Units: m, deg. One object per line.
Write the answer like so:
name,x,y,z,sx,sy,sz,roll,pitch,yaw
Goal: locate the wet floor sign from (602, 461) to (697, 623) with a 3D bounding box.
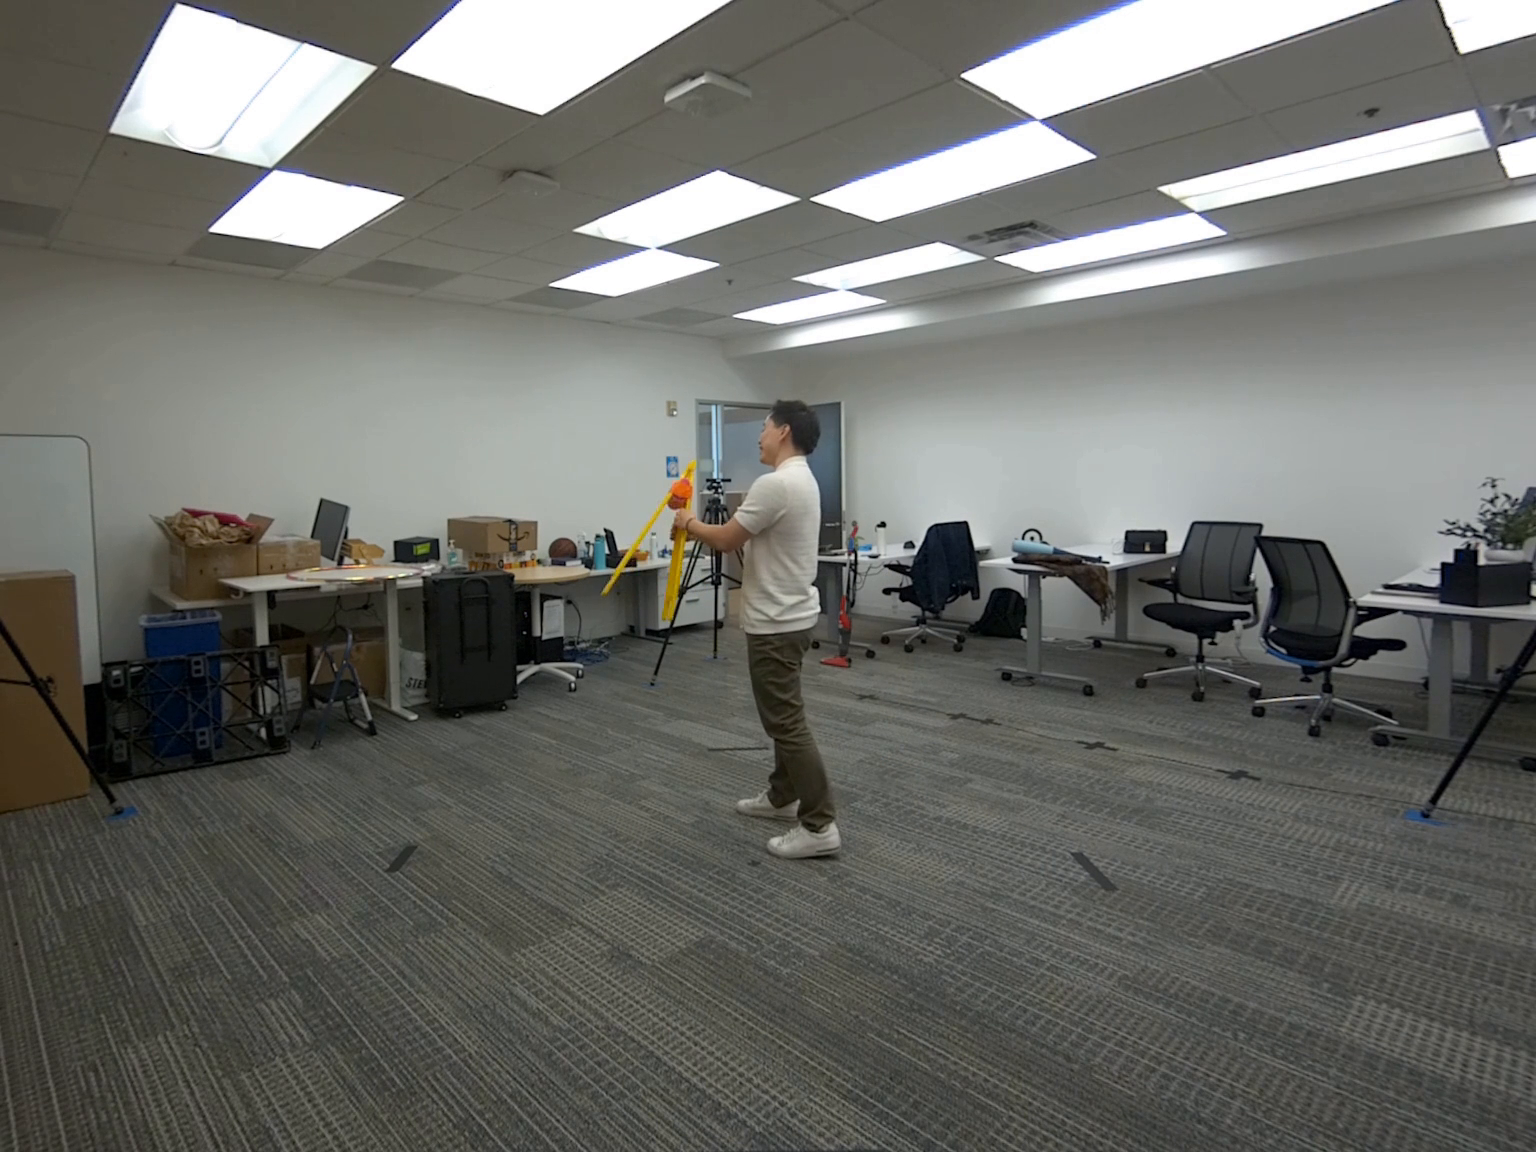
wet floor sign,-0.426,-0.163,3.508,0.286,0.648,0.285,22,-6,-10
